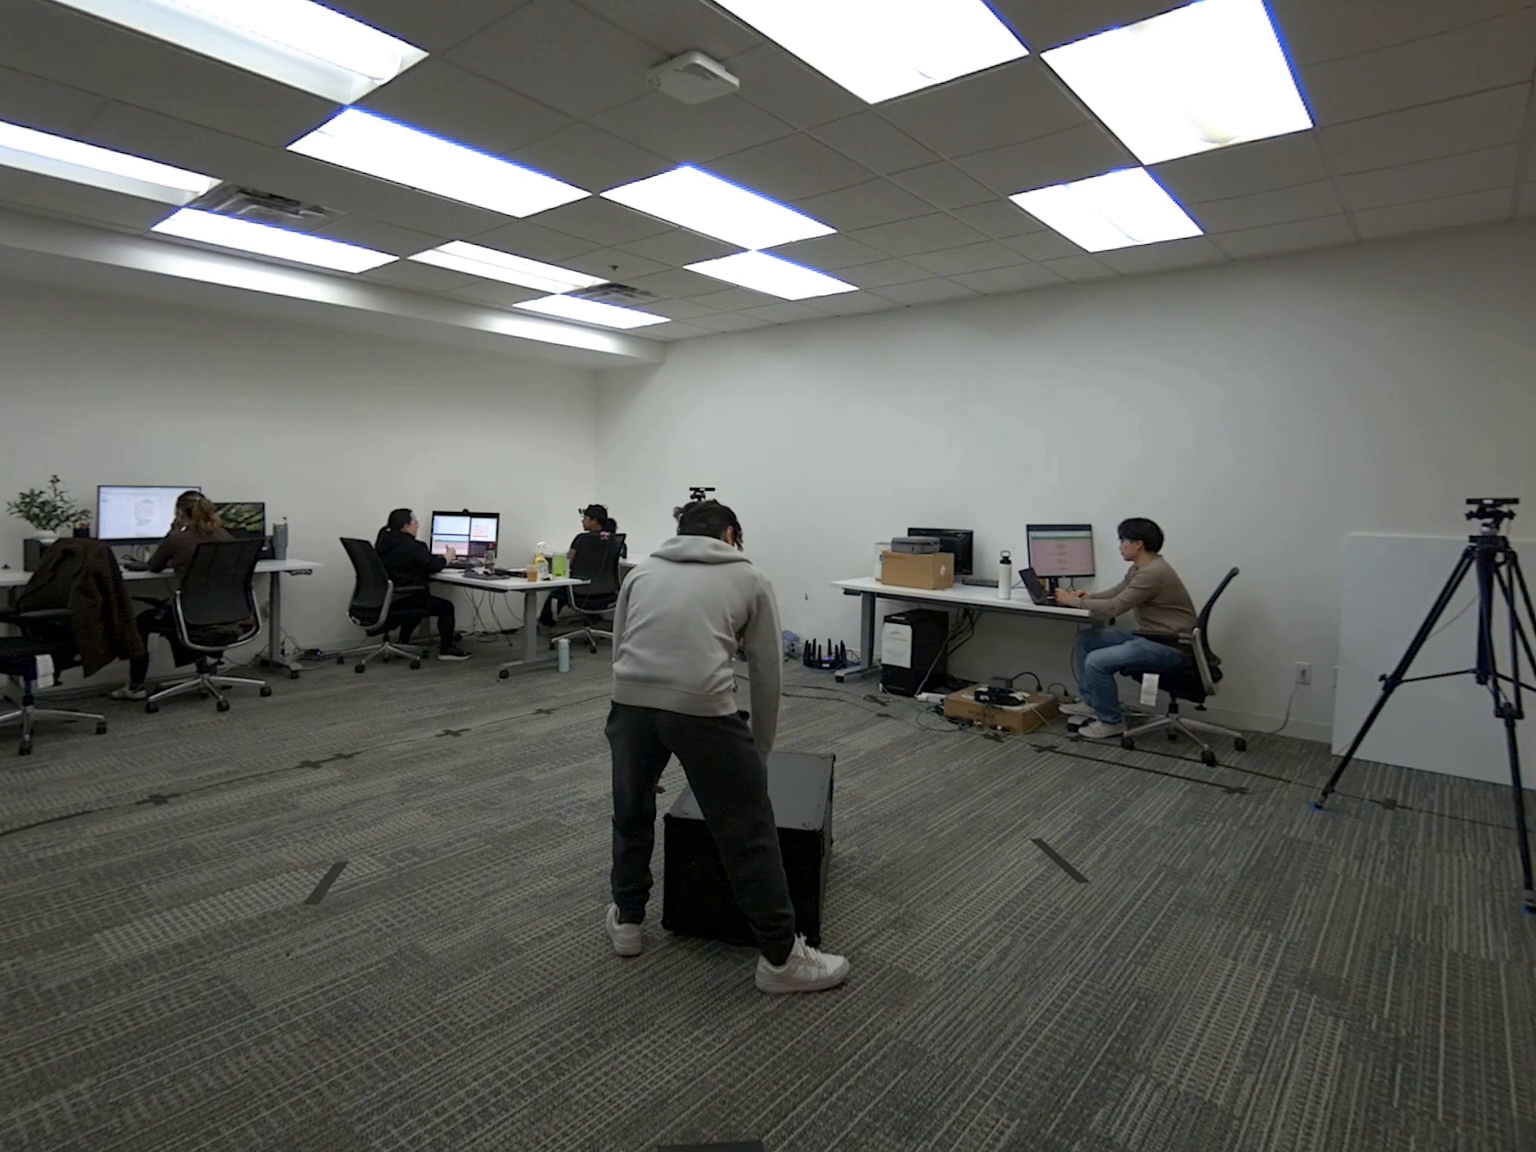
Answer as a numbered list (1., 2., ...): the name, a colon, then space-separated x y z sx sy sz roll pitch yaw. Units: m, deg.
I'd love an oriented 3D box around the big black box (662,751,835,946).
1. big black box: -0.033 0.887 2.982 0.527 0.394 0.856 2 6 8
